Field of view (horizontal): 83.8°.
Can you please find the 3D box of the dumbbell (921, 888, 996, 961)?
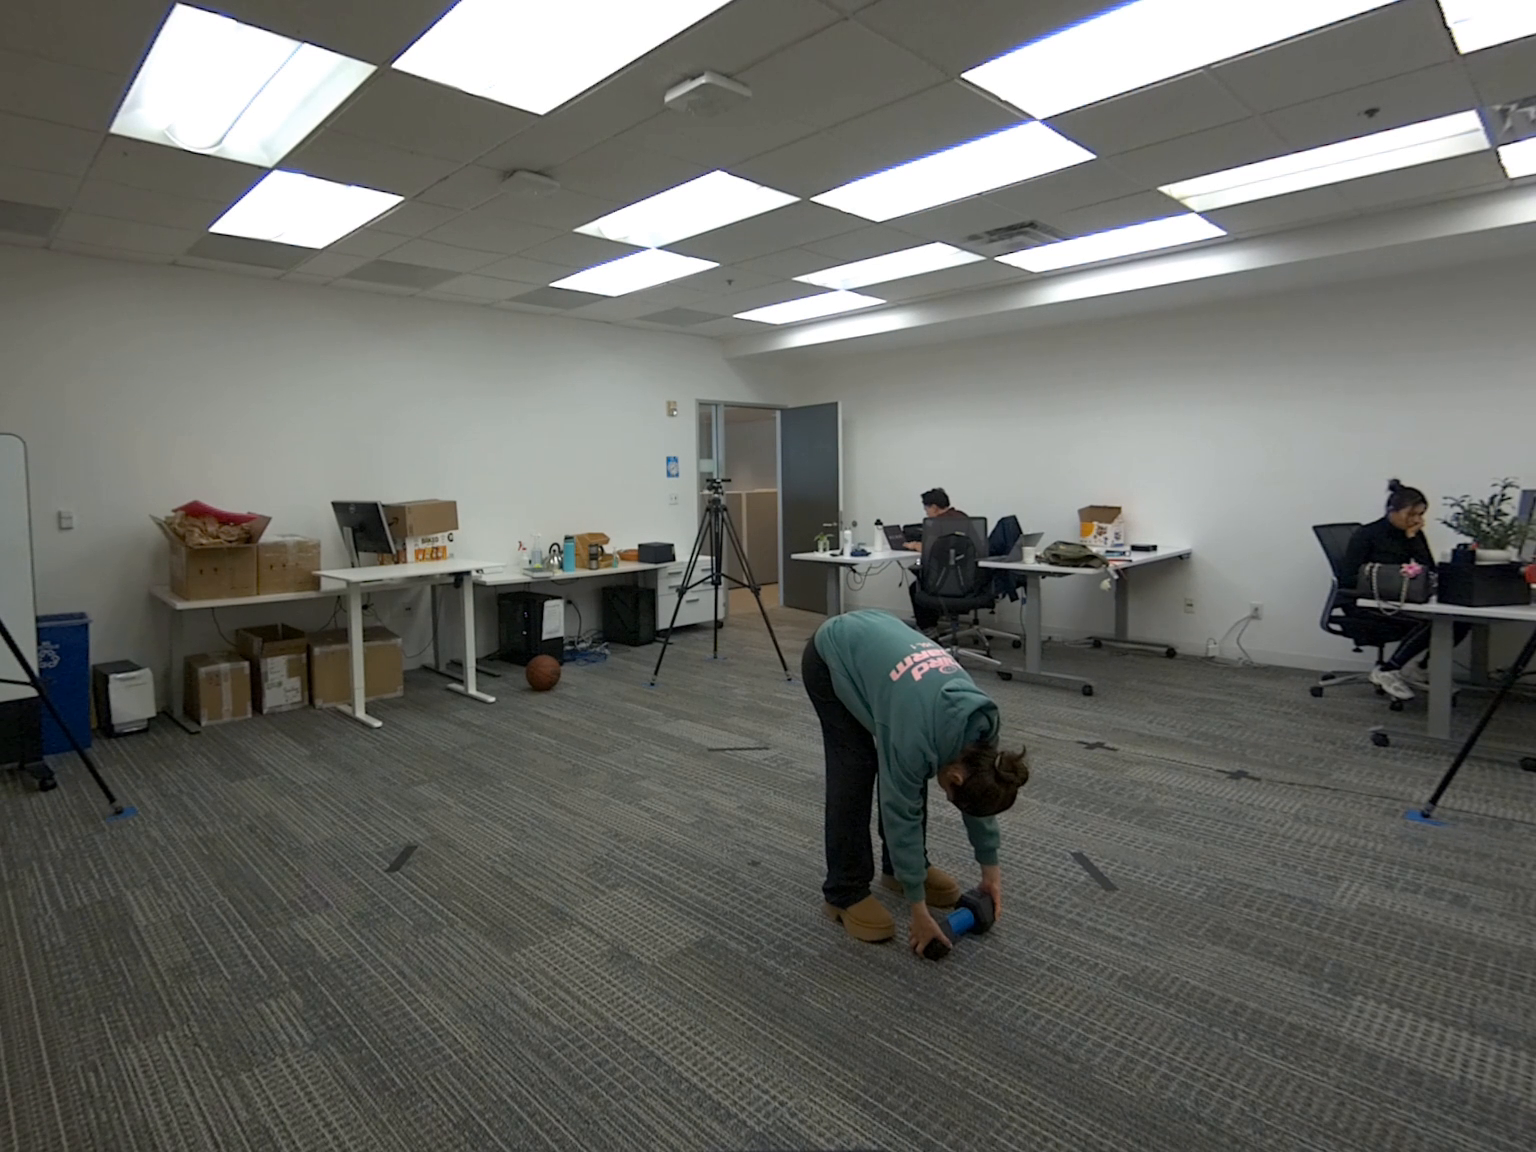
[{"bbox_3d":[0.569,1.045,2.561,0.286,0.121,0.113,-6,39,-37],"label":"dumbbell"}]
